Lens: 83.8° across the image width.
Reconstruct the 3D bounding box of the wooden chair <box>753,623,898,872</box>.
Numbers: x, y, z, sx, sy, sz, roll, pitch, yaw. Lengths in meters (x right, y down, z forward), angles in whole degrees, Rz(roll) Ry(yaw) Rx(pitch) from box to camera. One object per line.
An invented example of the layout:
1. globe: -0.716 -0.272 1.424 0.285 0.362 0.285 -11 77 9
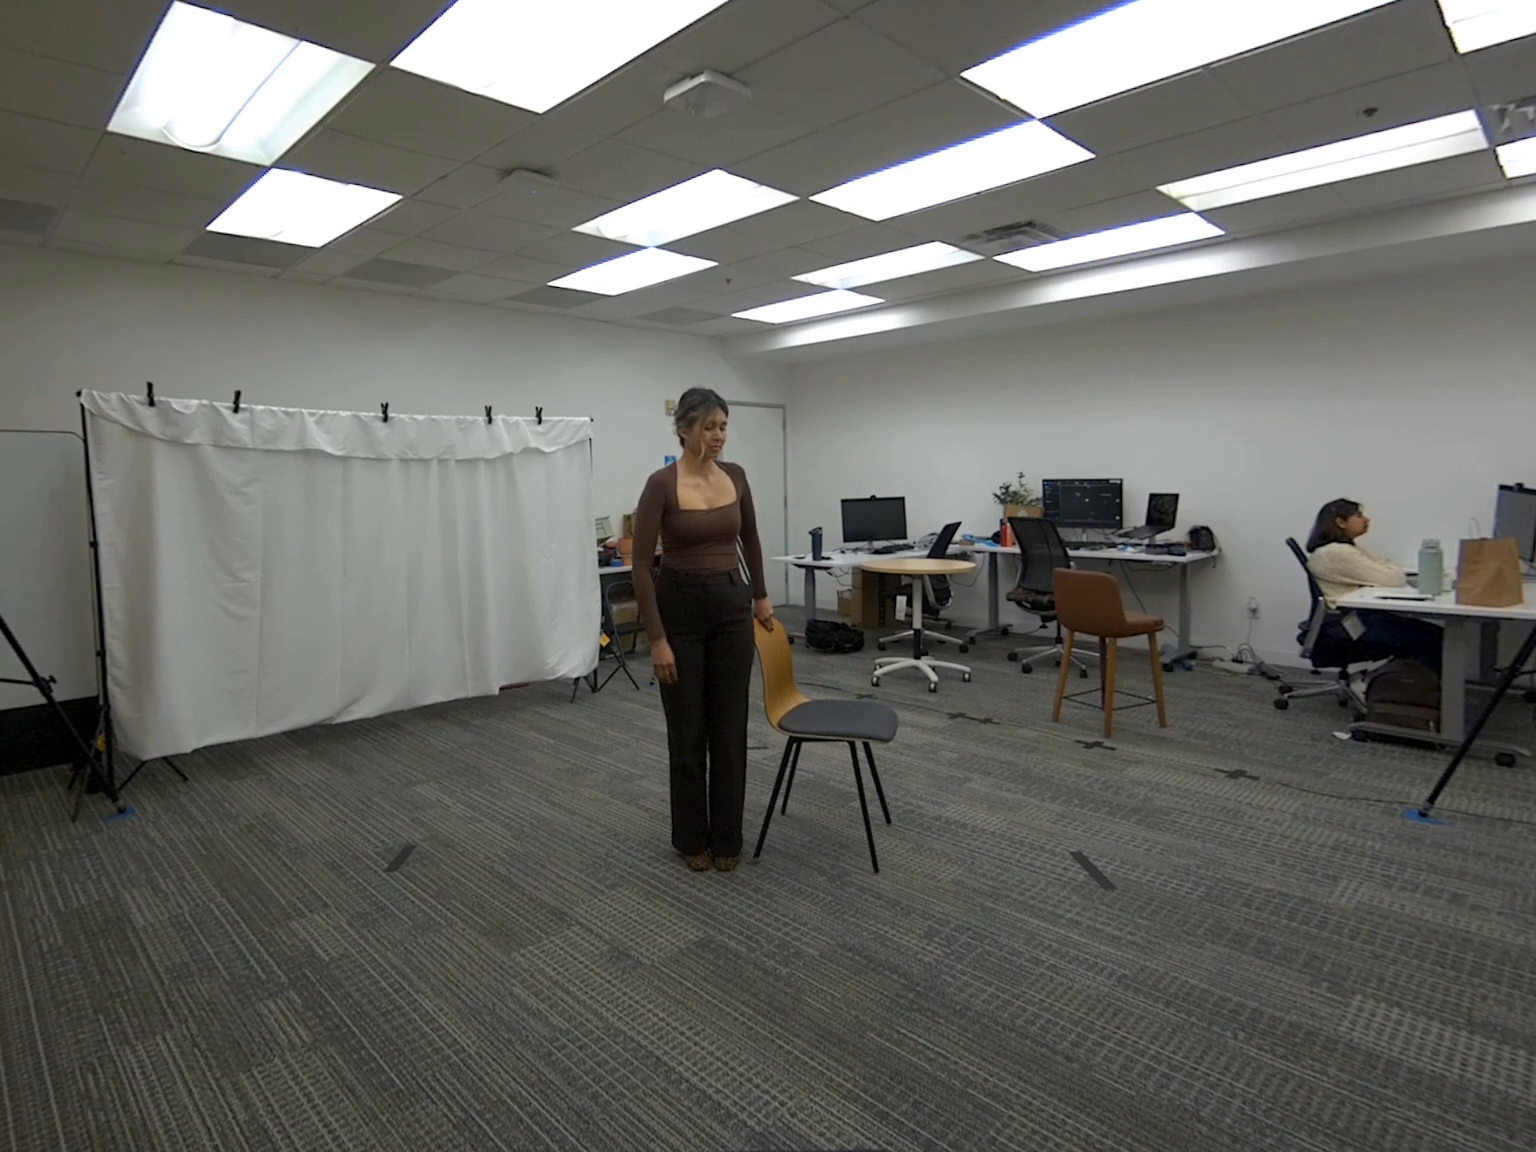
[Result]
1. wooden chair: 0.224 0.590 3.258 0.531 0.875 0.472 -3 3 17
